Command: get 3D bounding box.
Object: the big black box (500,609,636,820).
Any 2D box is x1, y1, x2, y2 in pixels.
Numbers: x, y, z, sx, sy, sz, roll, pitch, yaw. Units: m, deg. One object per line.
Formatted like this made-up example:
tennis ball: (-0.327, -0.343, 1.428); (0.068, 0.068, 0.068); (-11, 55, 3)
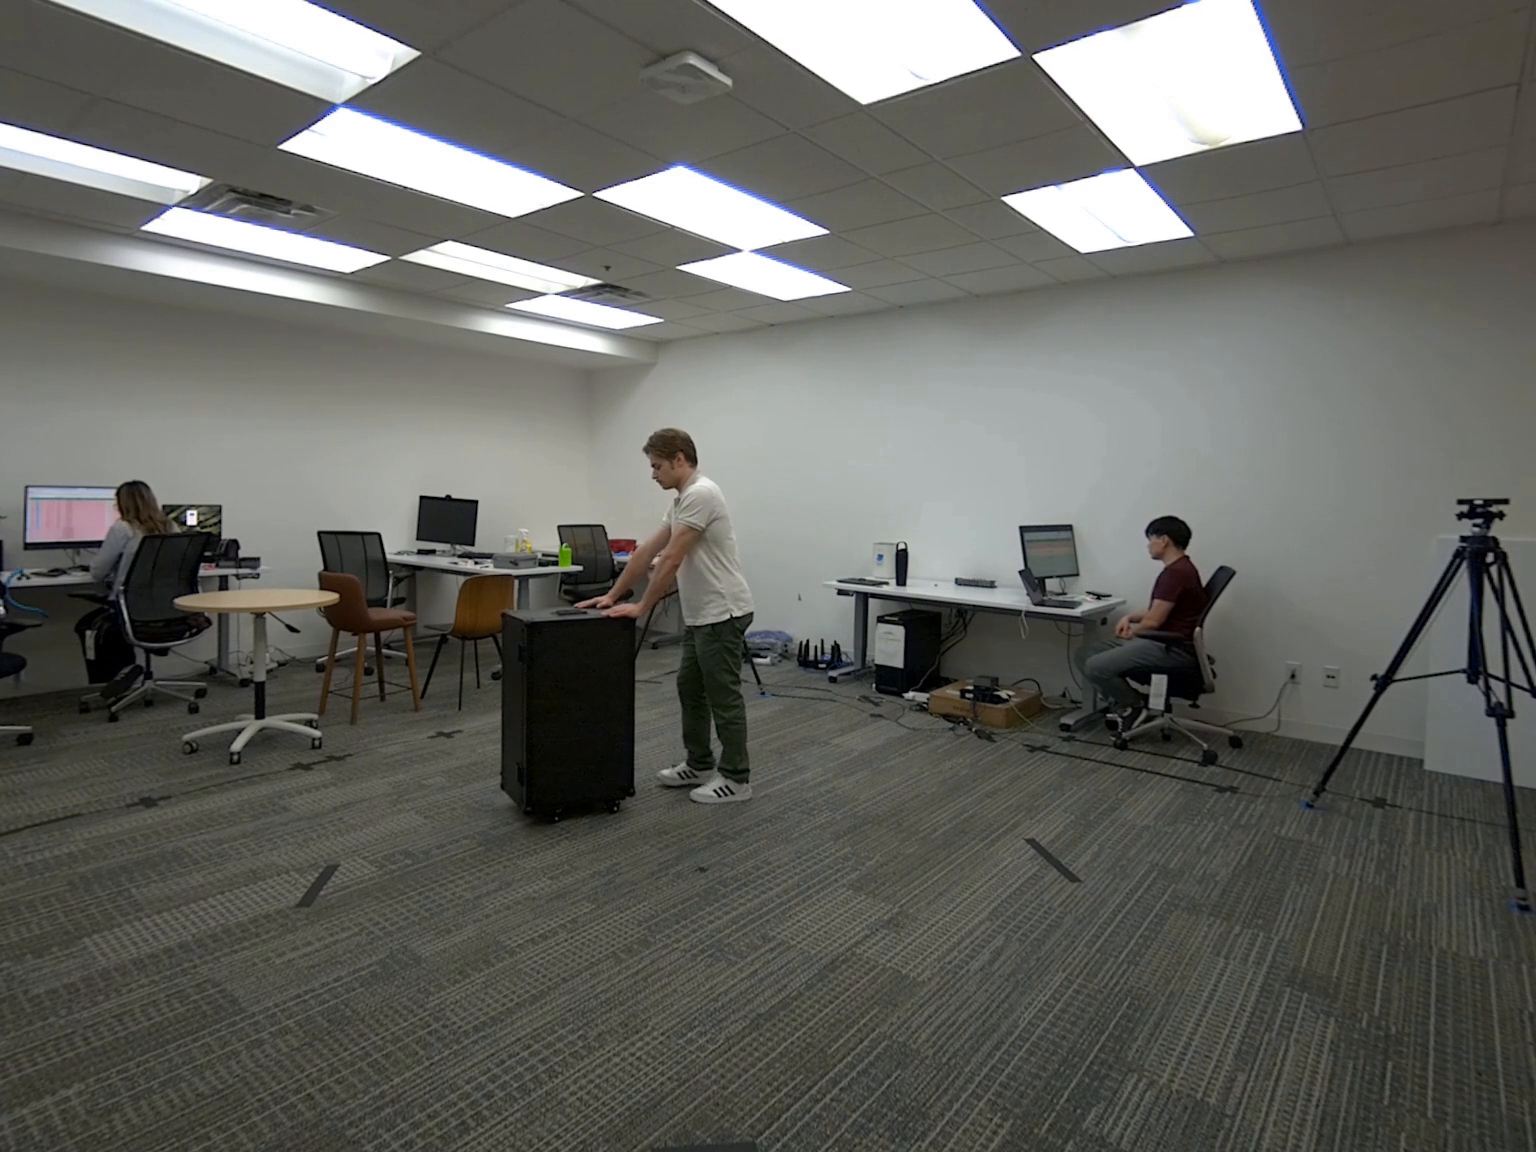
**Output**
big black box: (-0.887, 0.585, 3.666); (0.508, 0.867, 0.397); (0, 3, -33)
